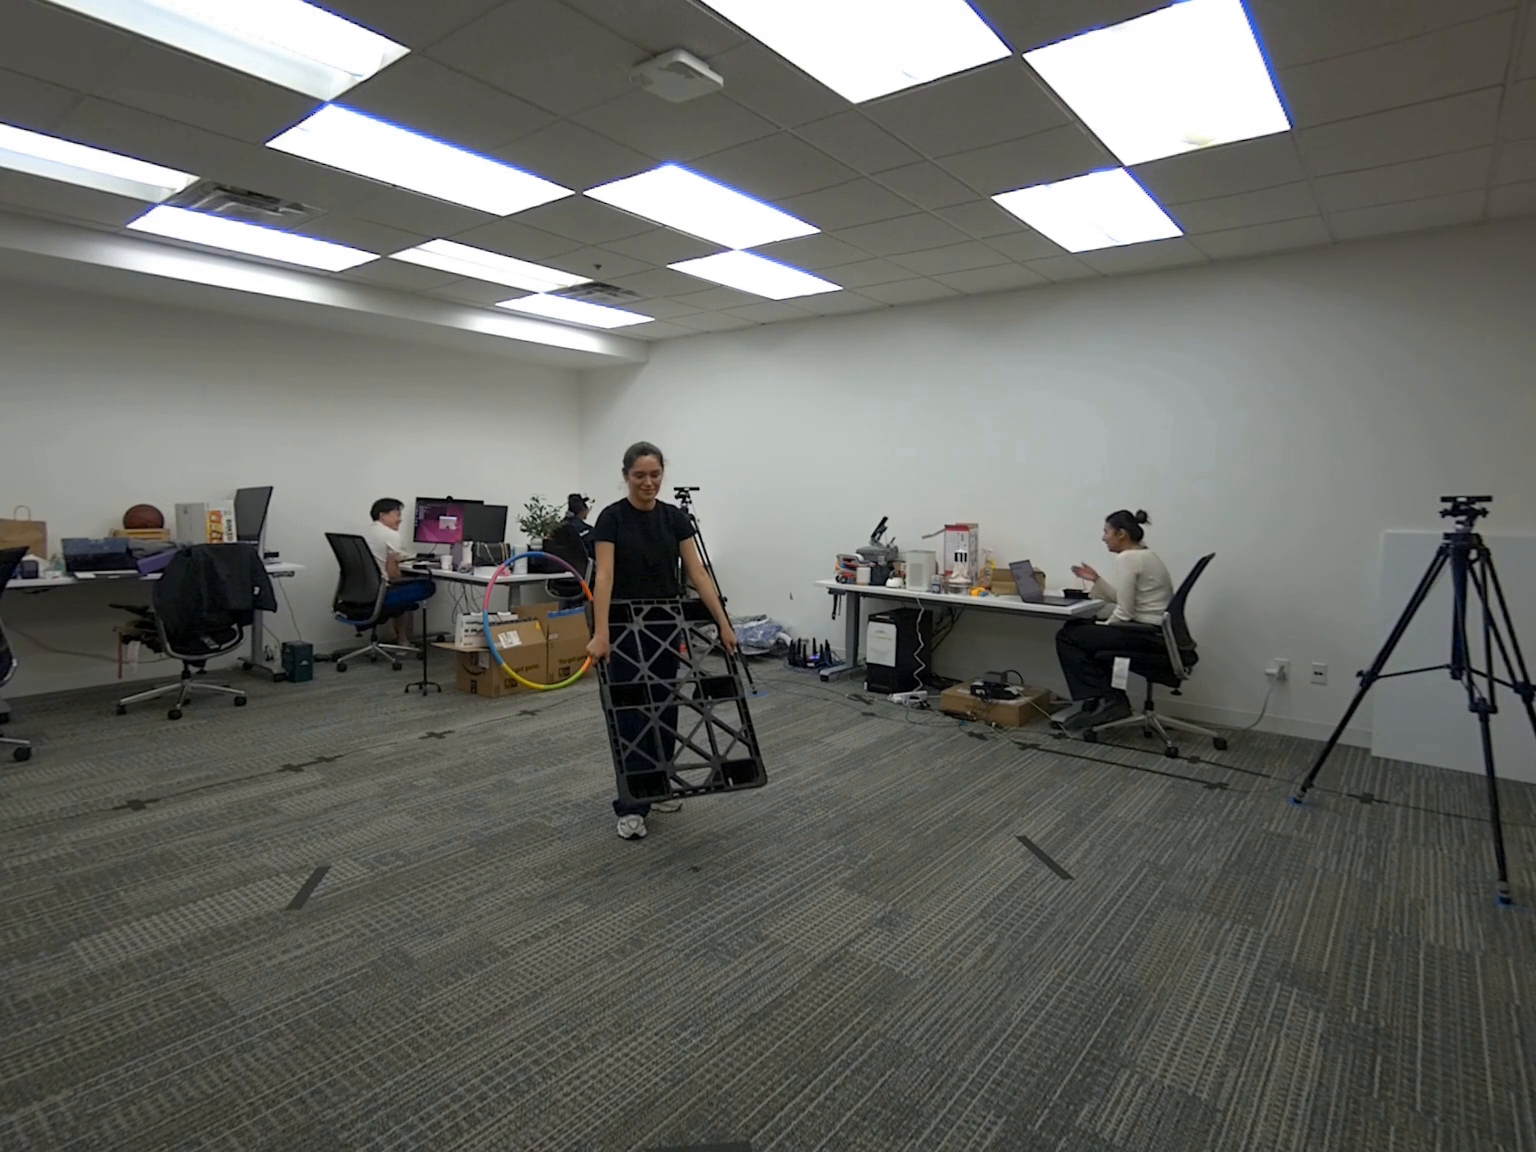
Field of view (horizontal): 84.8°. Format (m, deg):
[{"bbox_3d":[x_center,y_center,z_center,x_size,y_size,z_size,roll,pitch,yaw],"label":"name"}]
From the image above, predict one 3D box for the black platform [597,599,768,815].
[{"bbox_3d":[-0.364,0.466,3.337,0.588,0.829,0.143,1,-31,-30],"label":"black platform"}]
